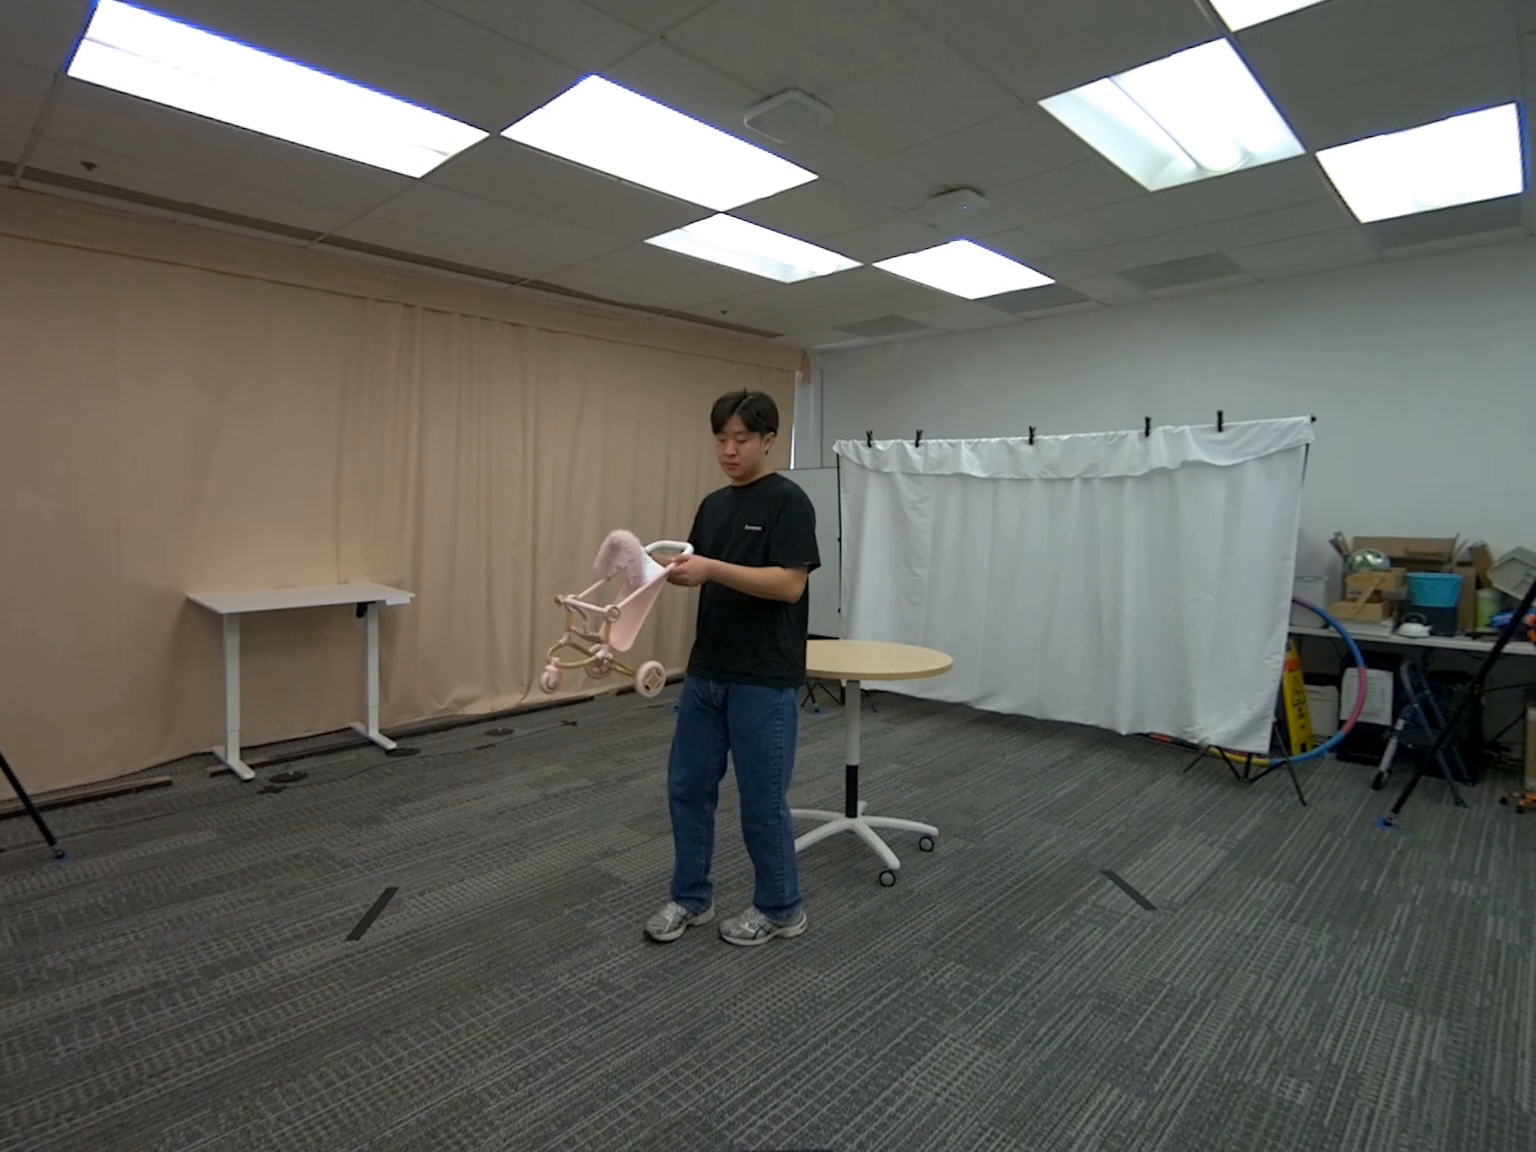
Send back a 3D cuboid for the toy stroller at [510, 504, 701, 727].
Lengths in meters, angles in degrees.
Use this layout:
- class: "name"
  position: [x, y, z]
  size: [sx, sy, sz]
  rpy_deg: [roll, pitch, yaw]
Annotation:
- class: "toy stroller"
  position: [-0.453, 0.109, 2.464]
  size: [0.329, 0.536, 0.291]
  rpy_deg: [23, -8, -40]
